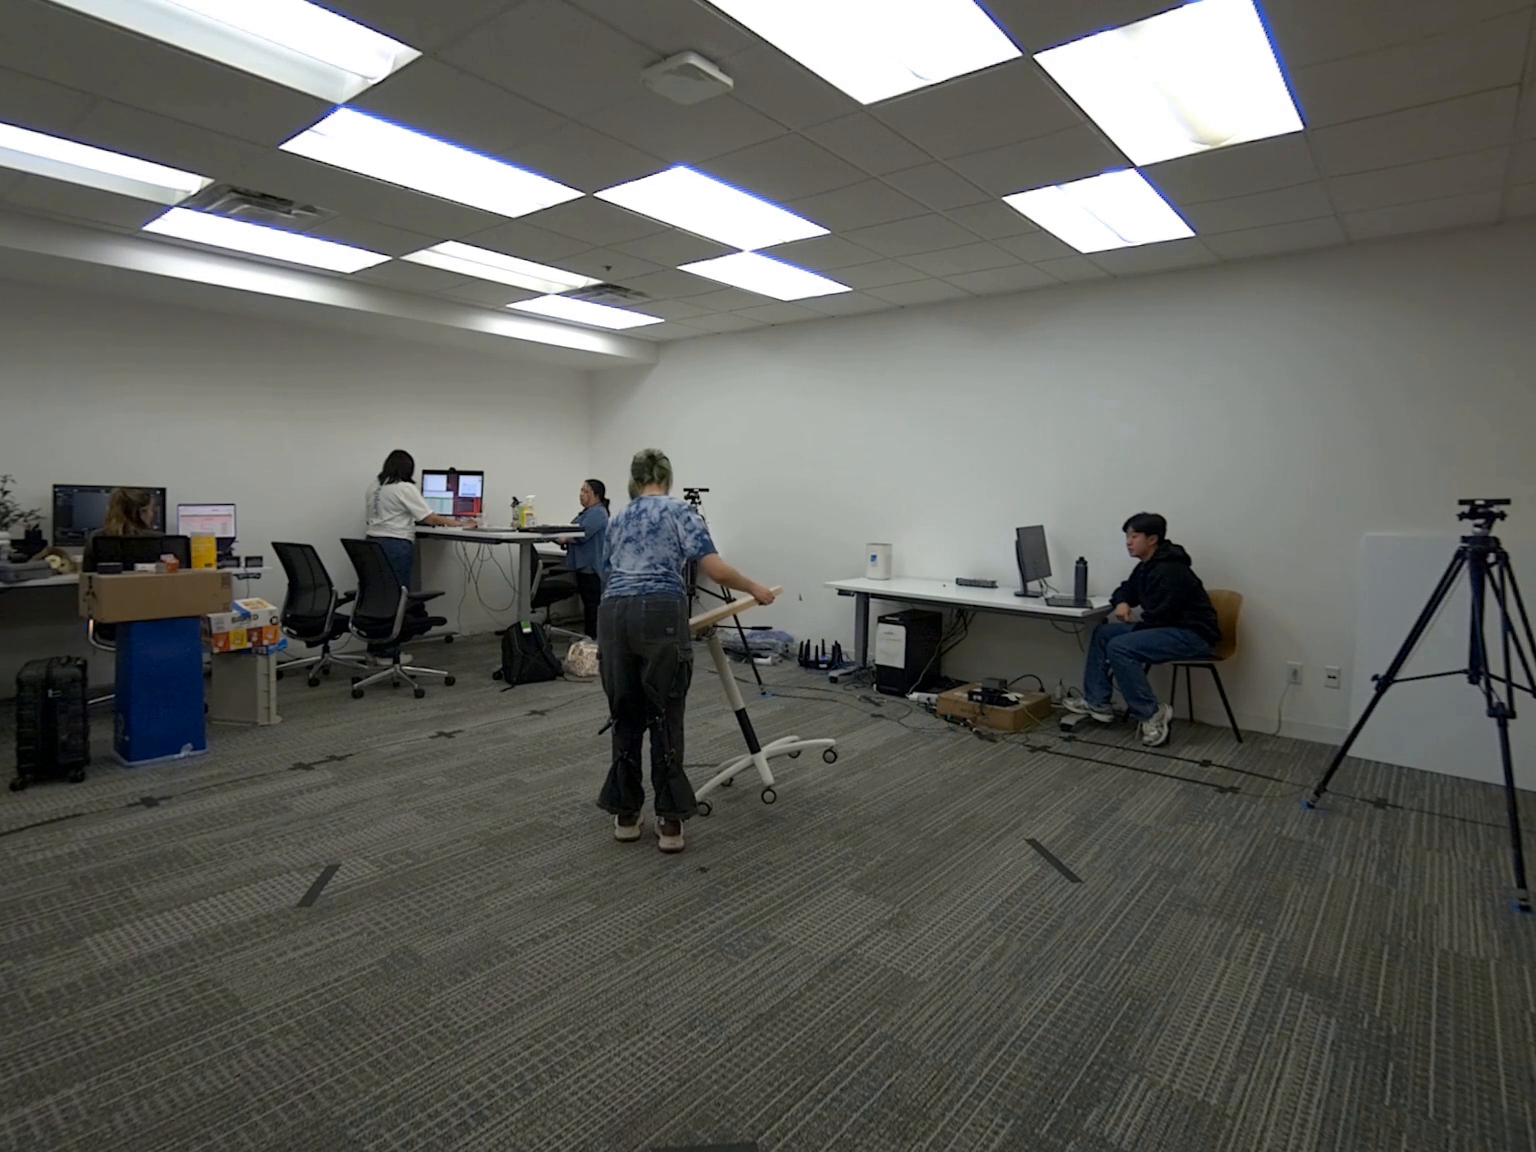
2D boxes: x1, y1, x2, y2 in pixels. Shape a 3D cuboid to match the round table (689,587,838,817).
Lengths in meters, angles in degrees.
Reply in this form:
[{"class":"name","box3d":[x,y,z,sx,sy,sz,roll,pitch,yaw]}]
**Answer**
[{"class":"round table","box3d":[-0.153,0.550,3.795,0.763,0.797,0.762,-21,-2,-3]}]
